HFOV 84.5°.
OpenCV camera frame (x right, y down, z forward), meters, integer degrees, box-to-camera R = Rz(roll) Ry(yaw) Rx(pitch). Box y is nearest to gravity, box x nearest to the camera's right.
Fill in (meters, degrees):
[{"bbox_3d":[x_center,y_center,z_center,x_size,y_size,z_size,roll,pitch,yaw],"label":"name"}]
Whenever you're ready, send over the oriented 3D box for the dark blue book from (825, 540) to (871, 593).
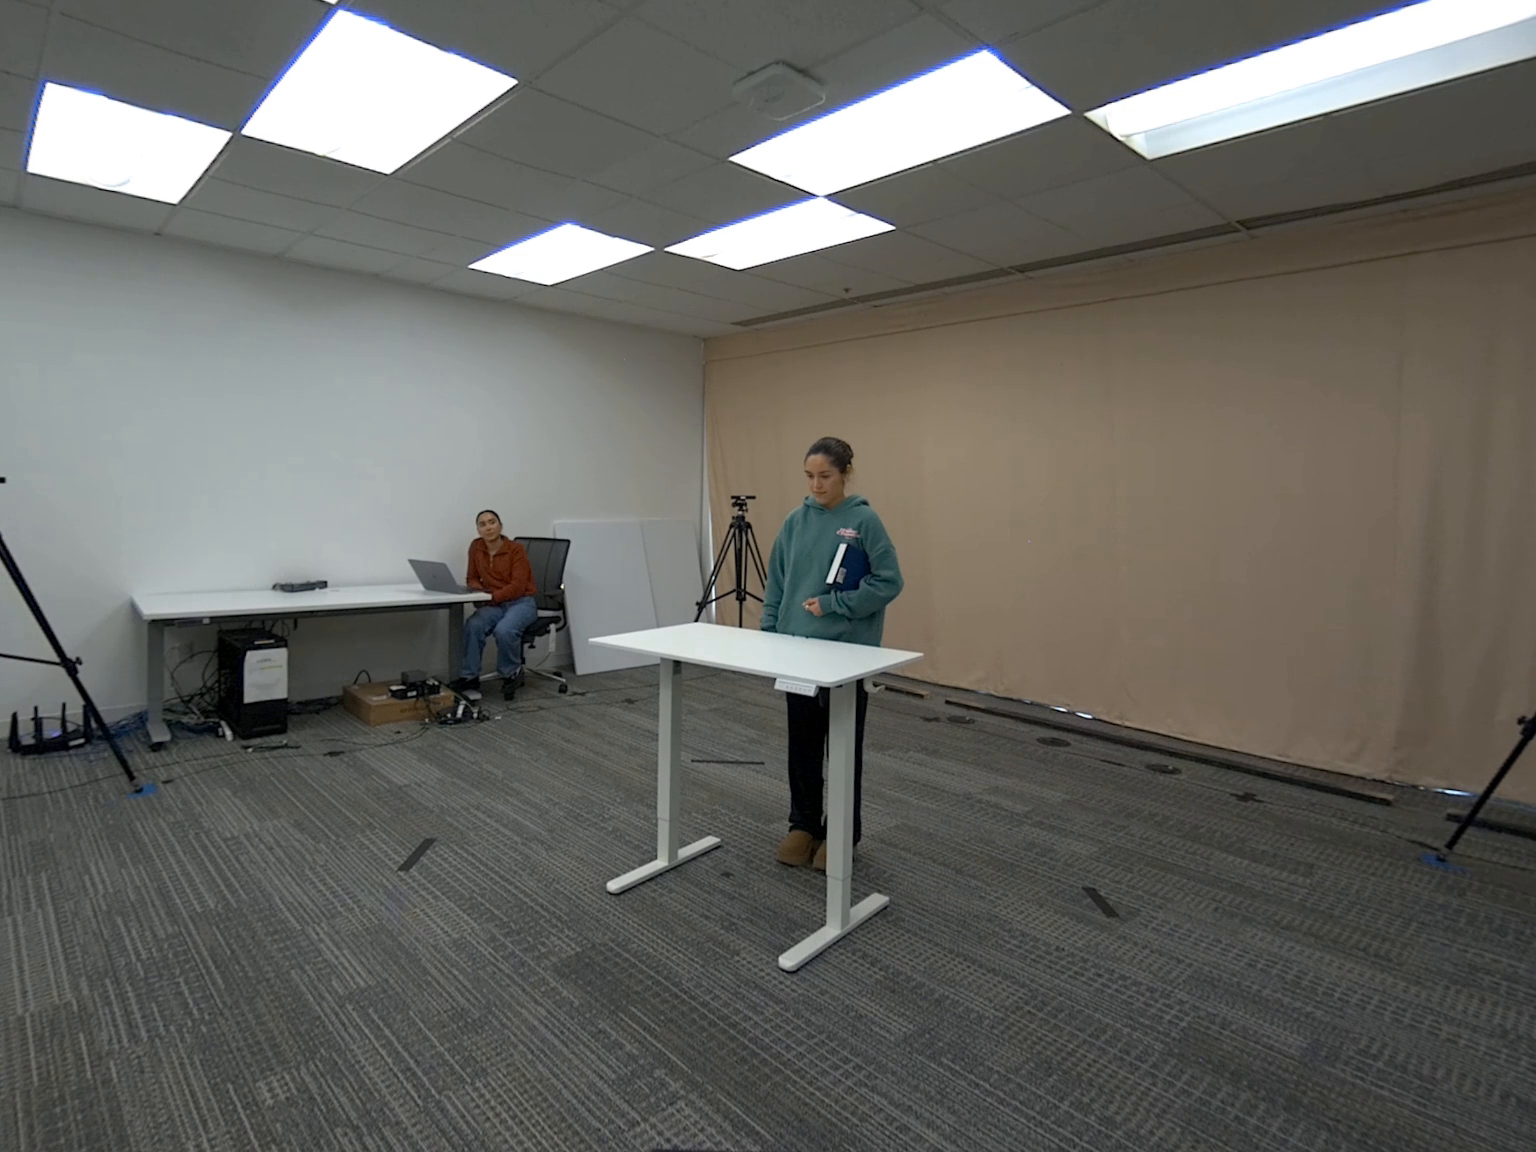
[{"bbox_3d":[0.316,-0.011,3.114,0.238,0.164,0.046,27,-9,-36],"label":"dark blue book"}]
